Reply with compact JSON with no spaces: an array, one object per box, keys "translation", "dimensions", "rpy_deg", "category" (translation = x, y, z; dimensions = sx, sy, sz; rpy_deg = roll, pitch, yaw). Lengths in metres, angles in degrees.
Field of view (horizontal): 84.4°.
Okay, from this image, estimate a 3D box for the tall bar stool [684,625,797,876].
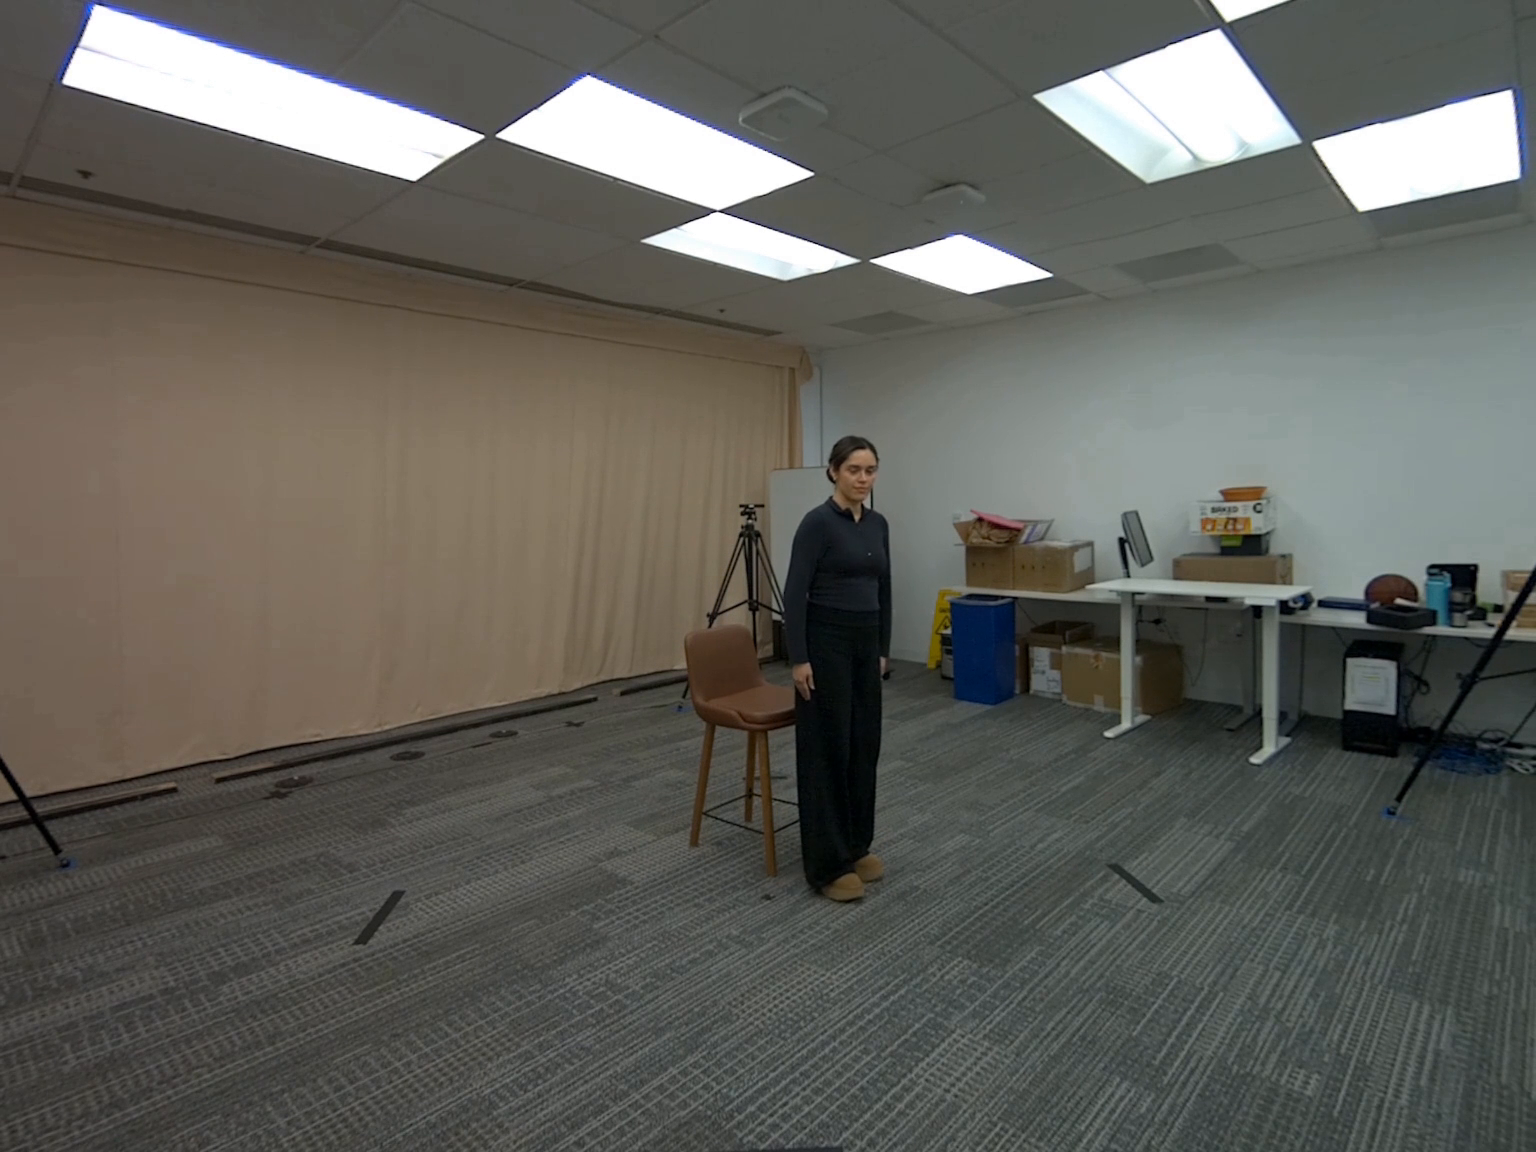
[{"translation":[-0.044,0.667,3.426],"dimensions":[0.482,0.889,0.443],"rpy_deg":[-1,3,41],"category":"tall bar stool"}]
